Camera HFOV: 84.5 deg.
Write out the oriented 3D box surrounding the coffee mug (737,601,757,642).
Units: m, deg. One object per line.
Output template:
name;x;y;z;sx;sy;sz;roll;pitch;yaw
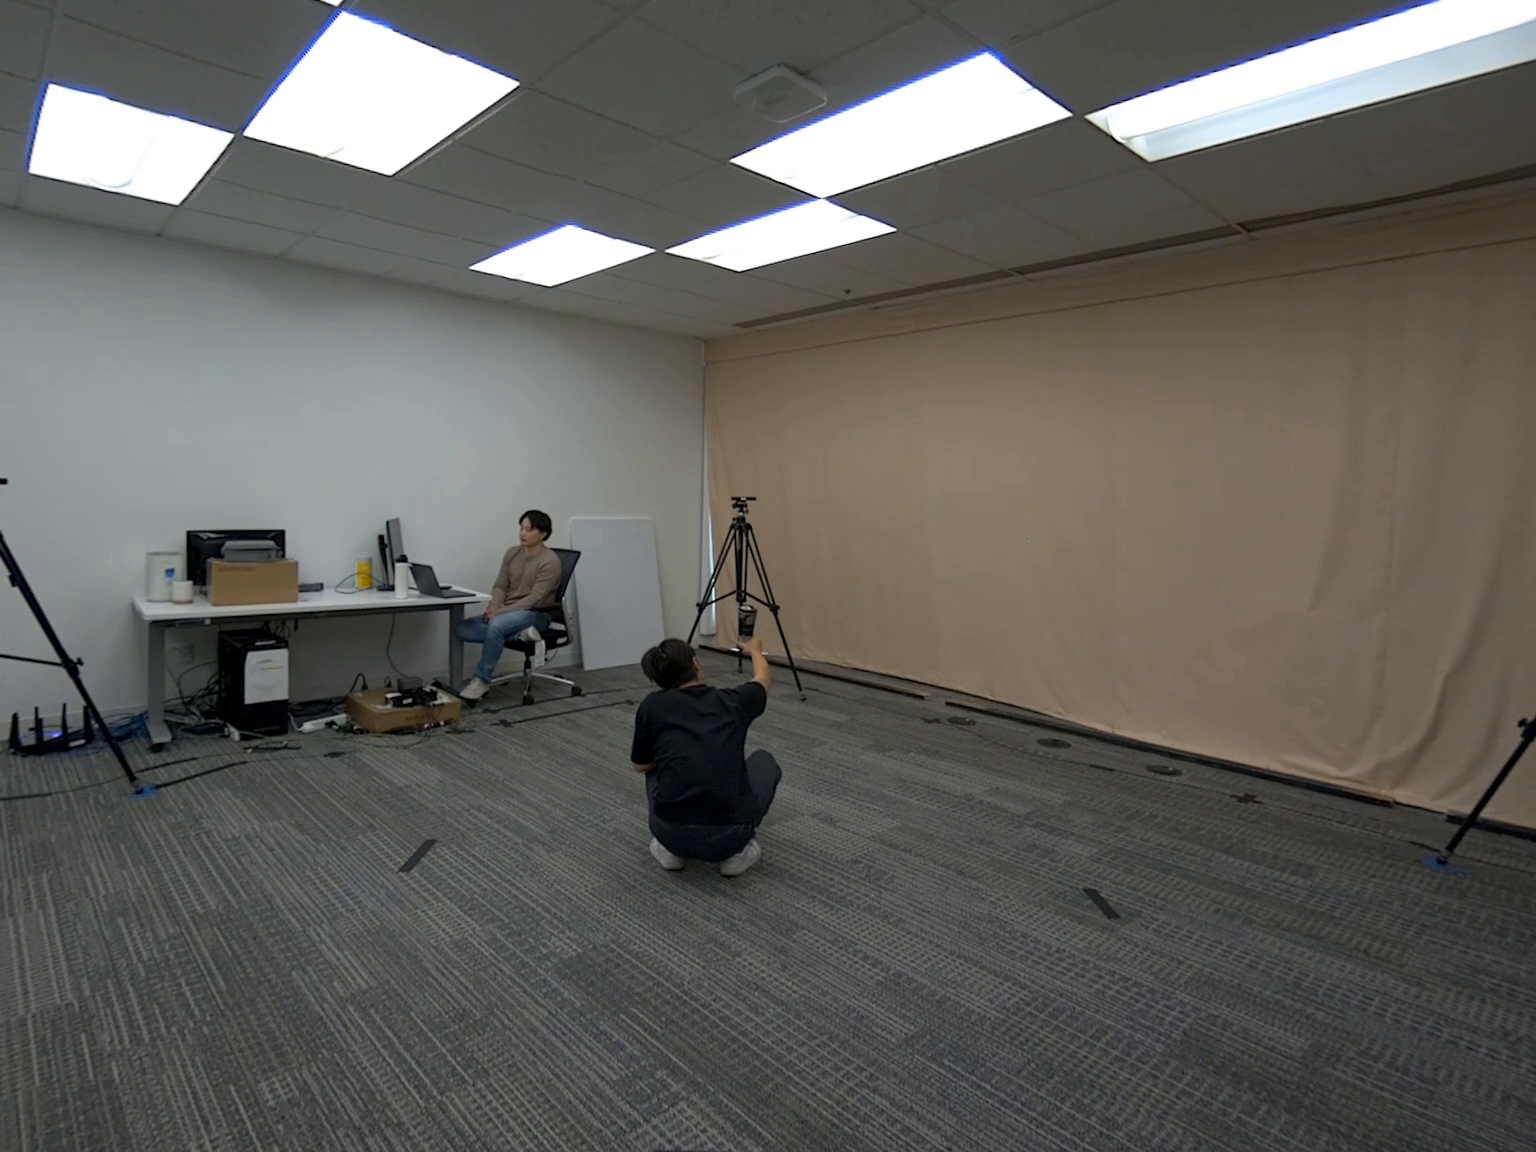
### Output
coffee mug;-0.127;0.247;3.819;0.119;0.201;0.090;-8;24;-44
